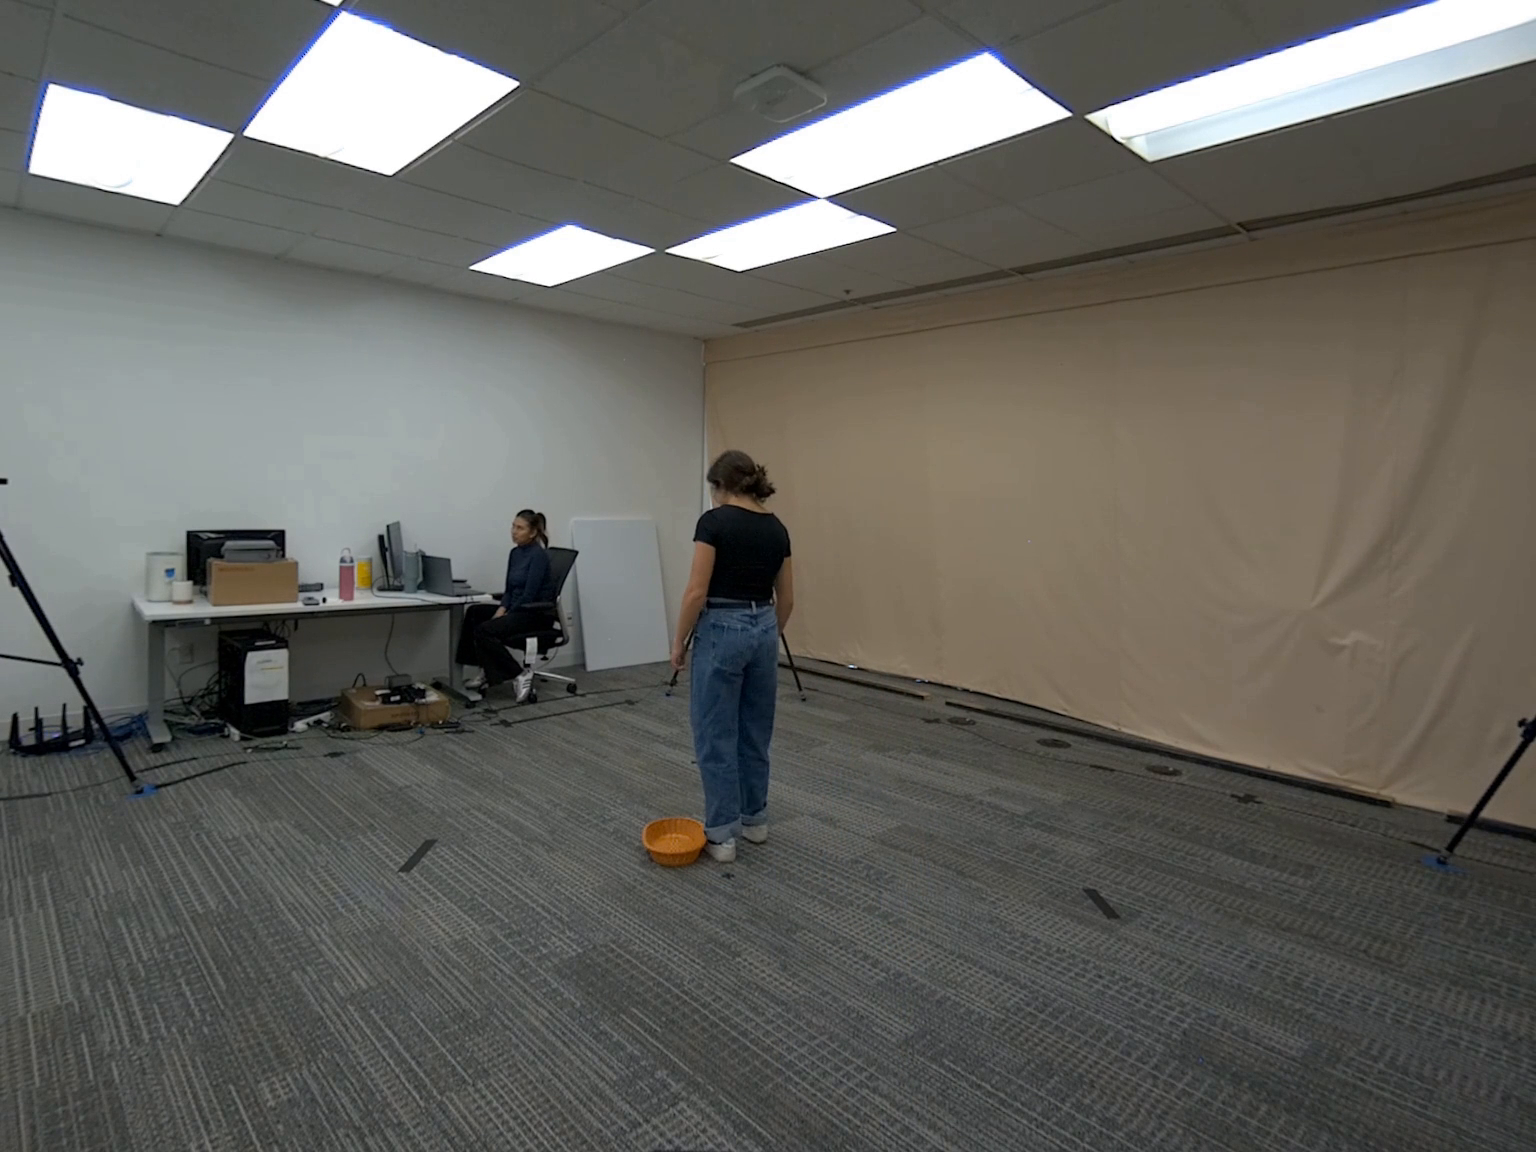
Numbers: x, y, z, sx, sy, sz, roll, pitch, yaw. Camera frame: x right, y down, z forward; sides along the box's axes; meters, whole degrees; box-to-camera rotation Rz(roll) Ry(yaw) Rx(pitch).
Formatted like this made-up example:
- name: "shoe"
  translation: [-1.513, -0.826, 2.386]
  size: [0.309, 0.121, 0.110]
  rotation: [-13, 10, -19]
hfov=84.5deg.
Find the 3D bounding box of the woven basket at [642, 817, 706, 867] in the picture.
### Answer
- name: "woven basket"
  translation: [-0.377, 1.044, 3.300]
  size: [0.251, 0.073, 0.353]
  rotation: [0, 6, -7]
